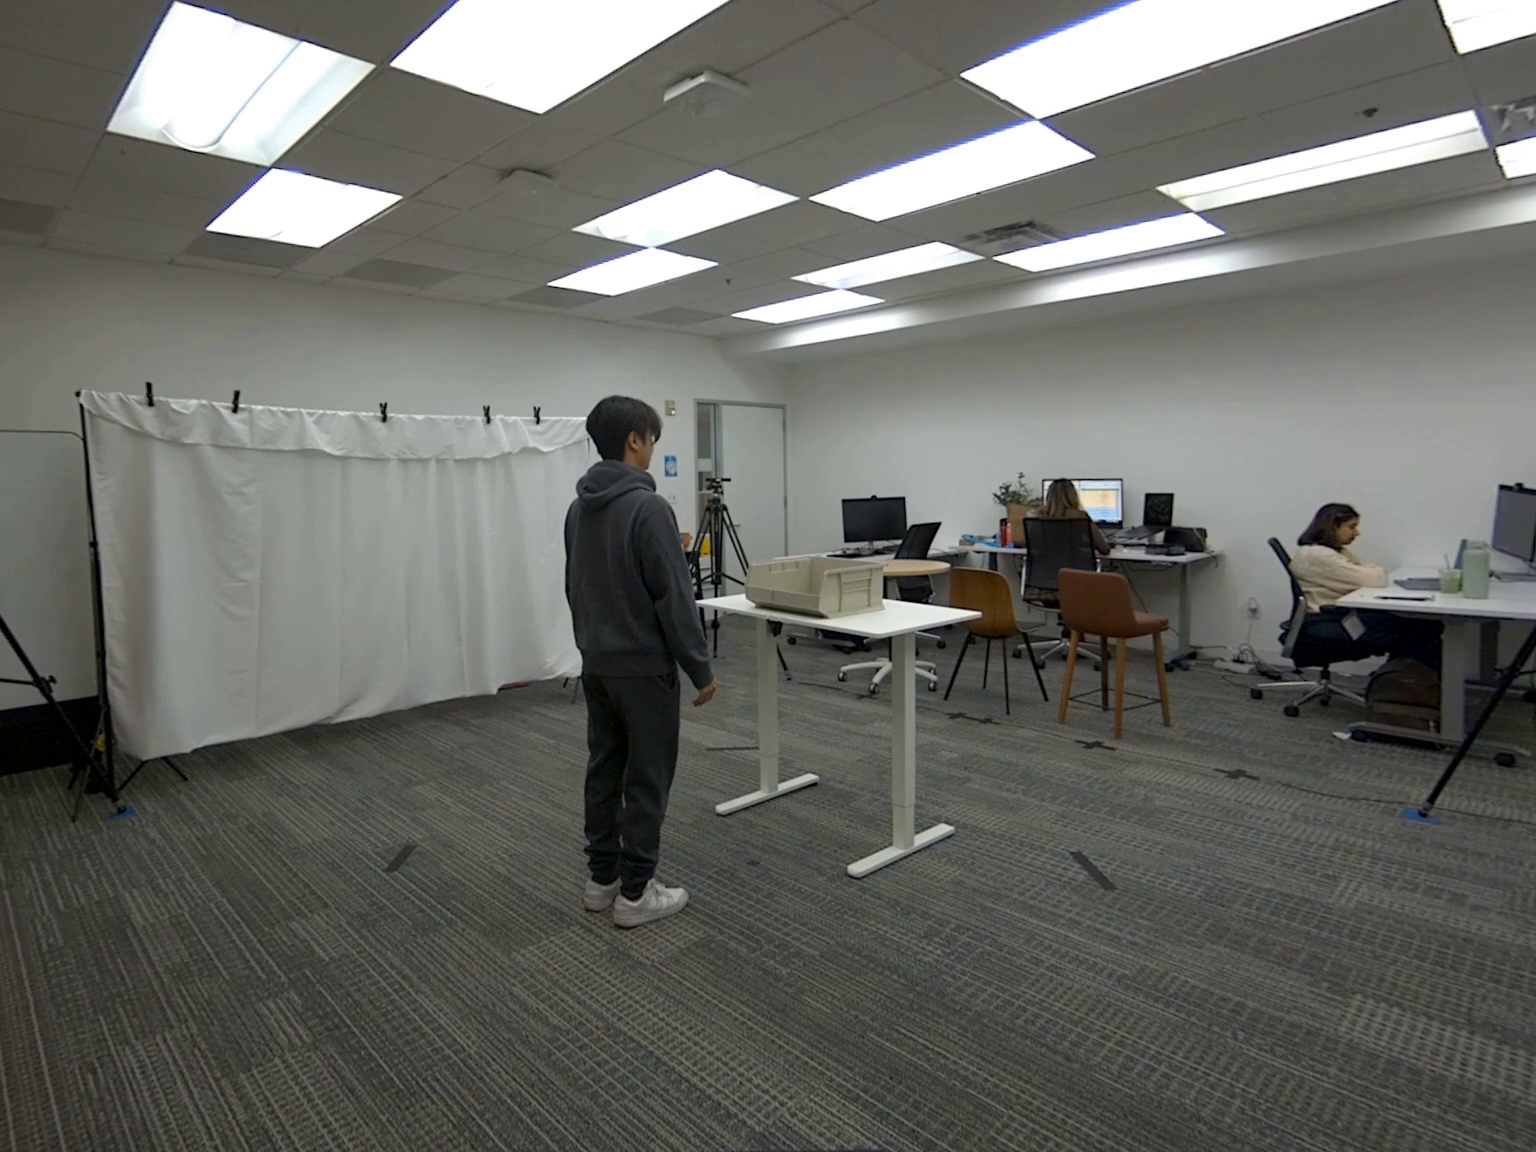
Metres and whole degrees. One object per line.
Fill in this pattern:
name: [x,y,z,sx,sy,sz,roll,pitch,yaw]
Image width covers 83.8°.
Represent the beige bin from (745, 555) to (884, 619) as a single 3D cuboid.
beige bin: [0.189,0.040,3.343,0.367,0.188,0.435,-6,8,-40]
